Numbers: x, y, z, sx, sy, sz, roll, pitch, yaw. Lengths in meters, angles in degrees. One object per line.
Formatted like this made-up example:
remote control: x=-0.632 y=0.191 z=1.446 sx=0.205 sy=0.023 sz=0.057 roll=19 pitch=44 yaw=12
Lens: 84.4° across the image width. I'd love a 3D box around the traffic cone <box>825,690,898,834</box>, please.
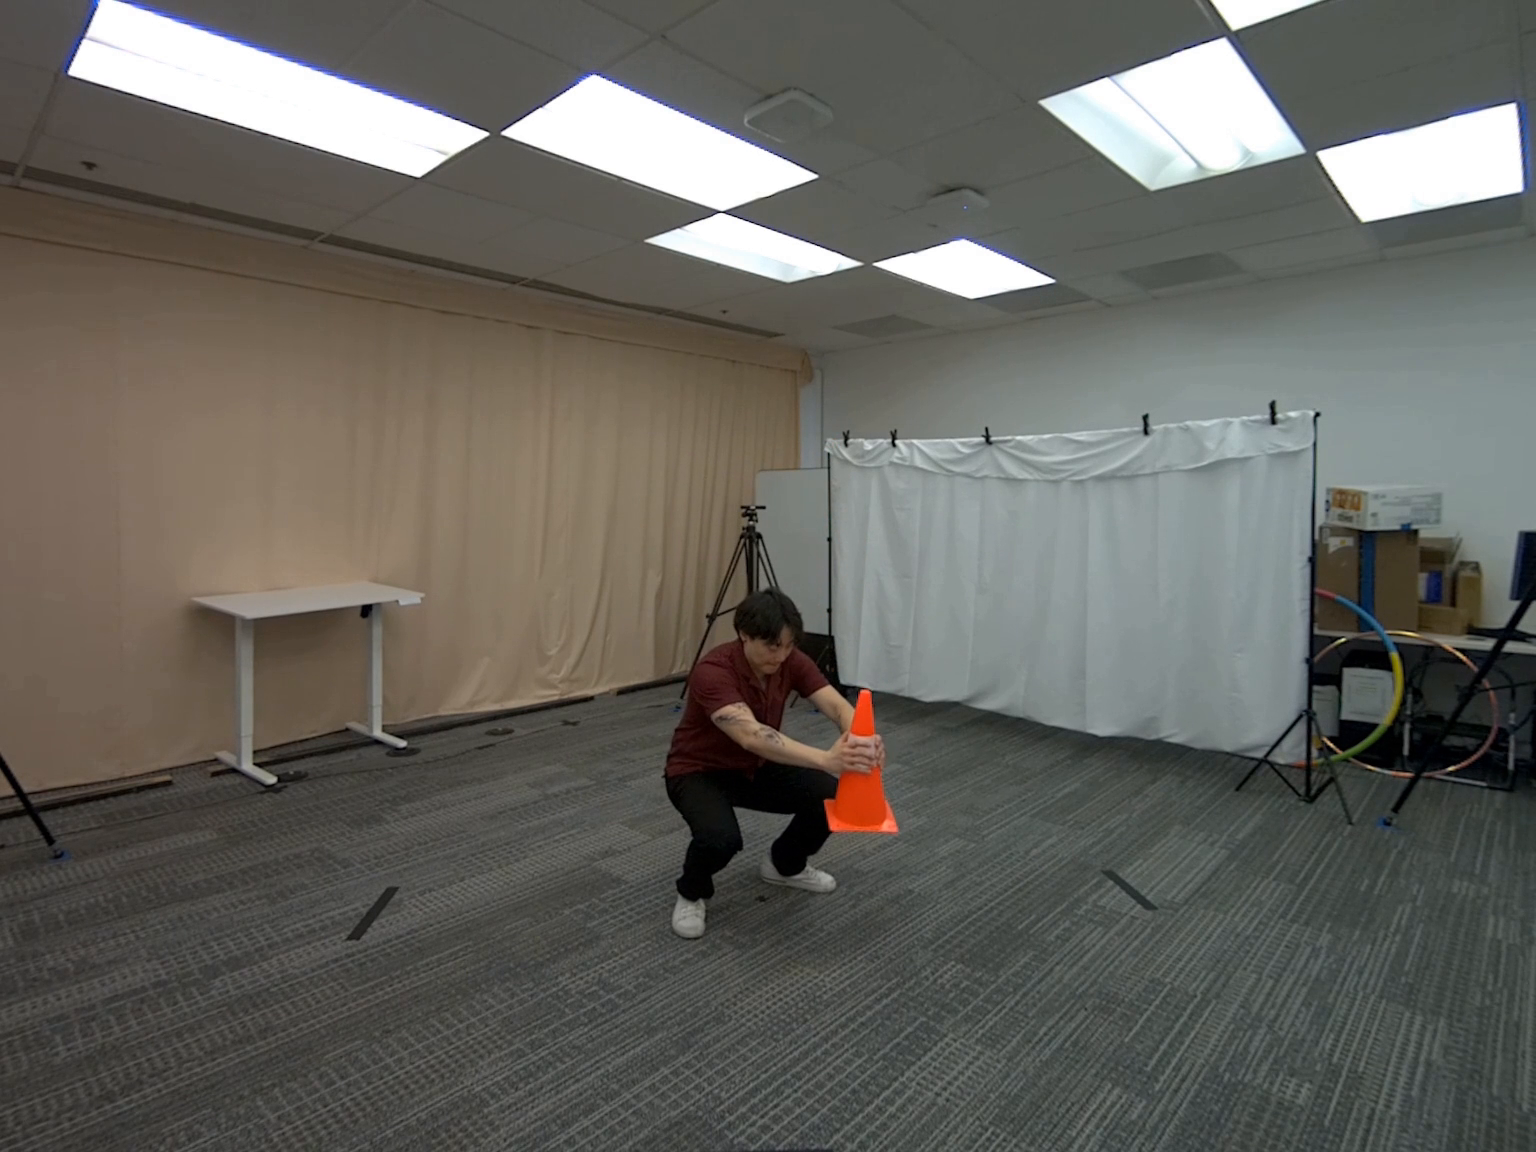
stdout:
traffic cone: x=0.286 y=0.524 z=2.480 sx=0.204 sy=0.382 sz=0.205 roll=3 pitch=6 yaw=1
